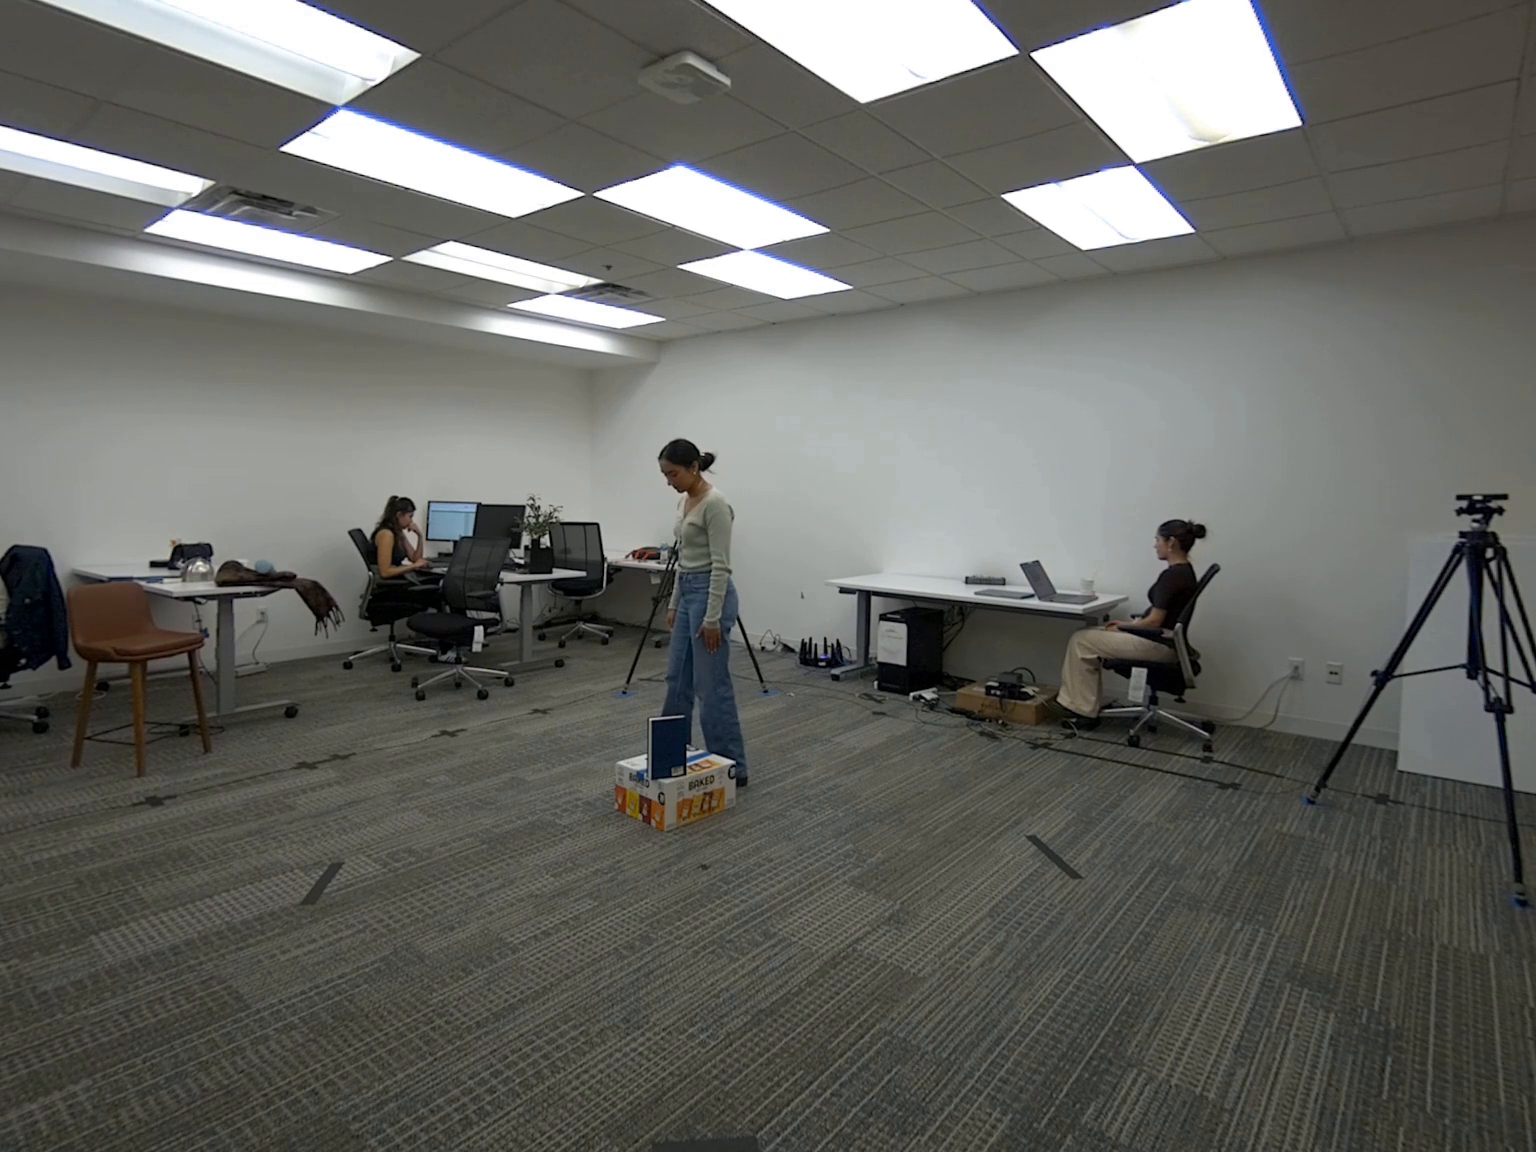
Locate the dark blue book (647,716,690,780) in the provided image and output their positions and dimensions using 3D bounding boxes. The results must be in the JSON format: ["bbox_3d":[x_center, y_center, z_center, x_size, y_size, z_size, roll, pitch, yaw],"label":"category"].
[{"bbox_3d":[-0.425,0.701,3.507,0.159,0.245,0.046,1,0,-26],"label":"dark blue book"}]
